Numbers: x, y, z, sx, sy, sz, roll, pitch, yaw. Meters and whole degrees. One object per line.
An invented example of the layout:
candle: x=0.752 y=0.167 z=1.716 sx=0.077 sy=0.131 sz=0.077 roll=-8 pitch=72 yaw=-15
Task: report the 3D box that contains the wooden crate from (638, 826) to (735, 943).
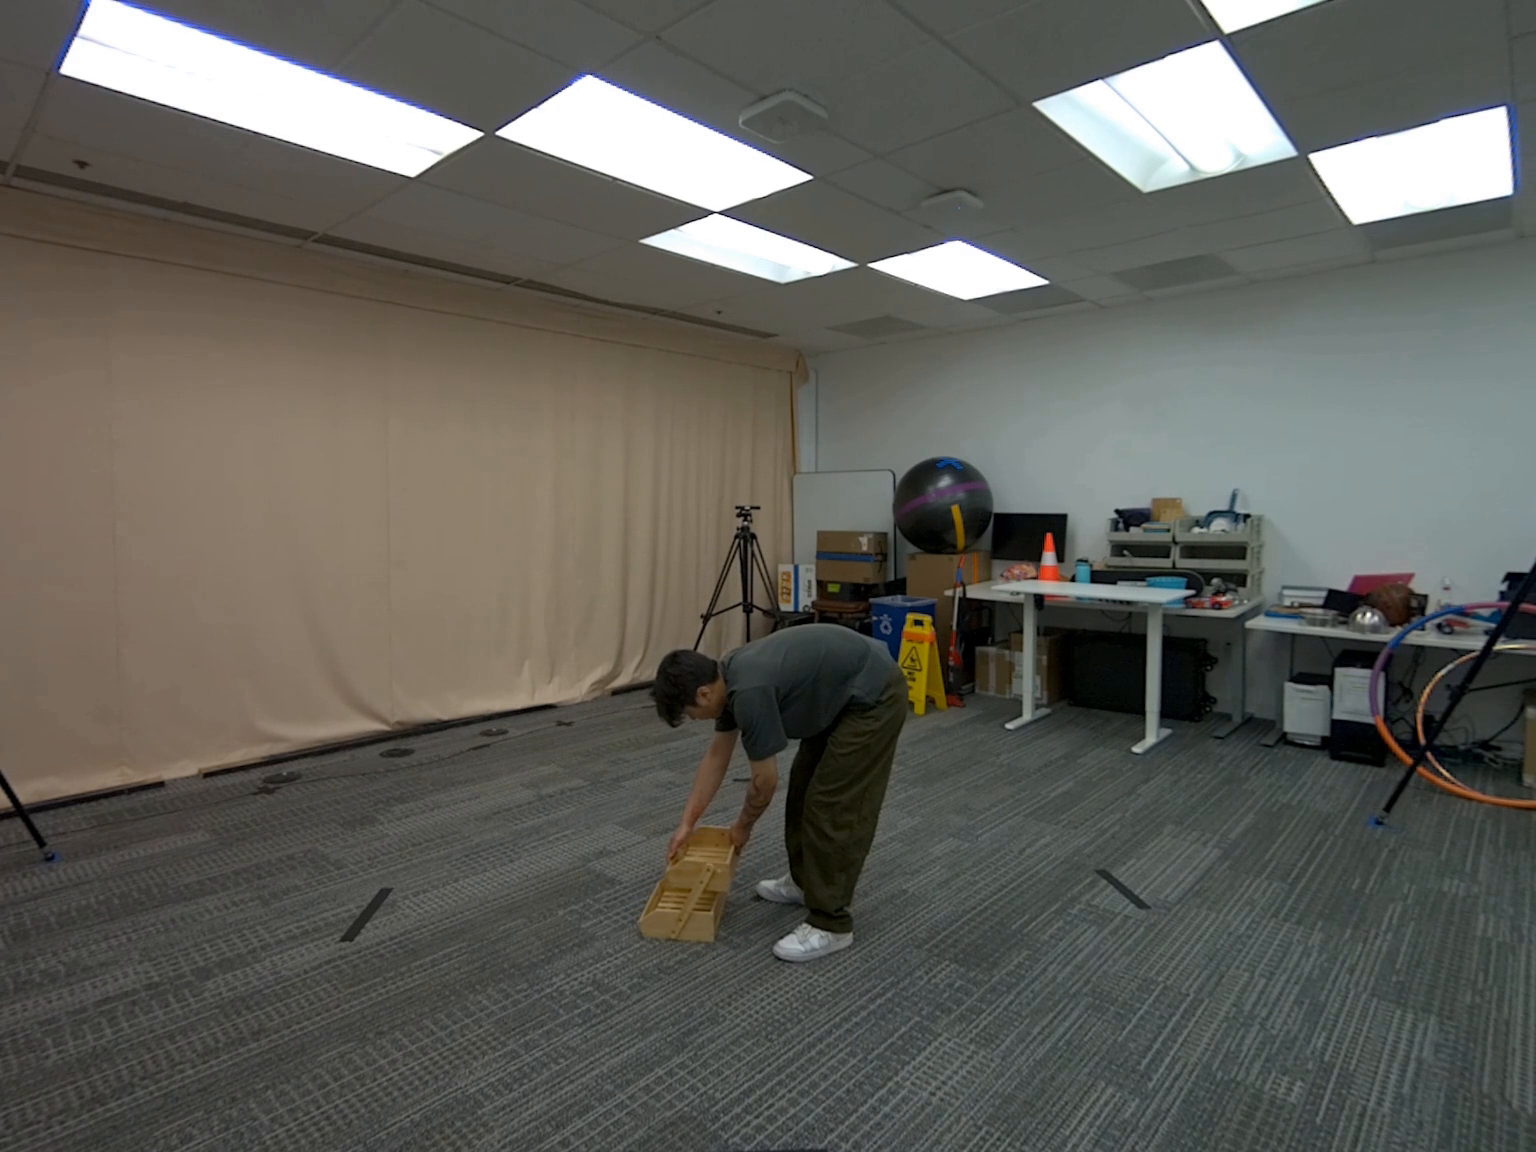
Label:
wooden crate: x=-0.269 y=1.031 z=2.840 sx=0.304 sy=0.273 sz=0.323 roll=0 pitch=4 yaw=6
